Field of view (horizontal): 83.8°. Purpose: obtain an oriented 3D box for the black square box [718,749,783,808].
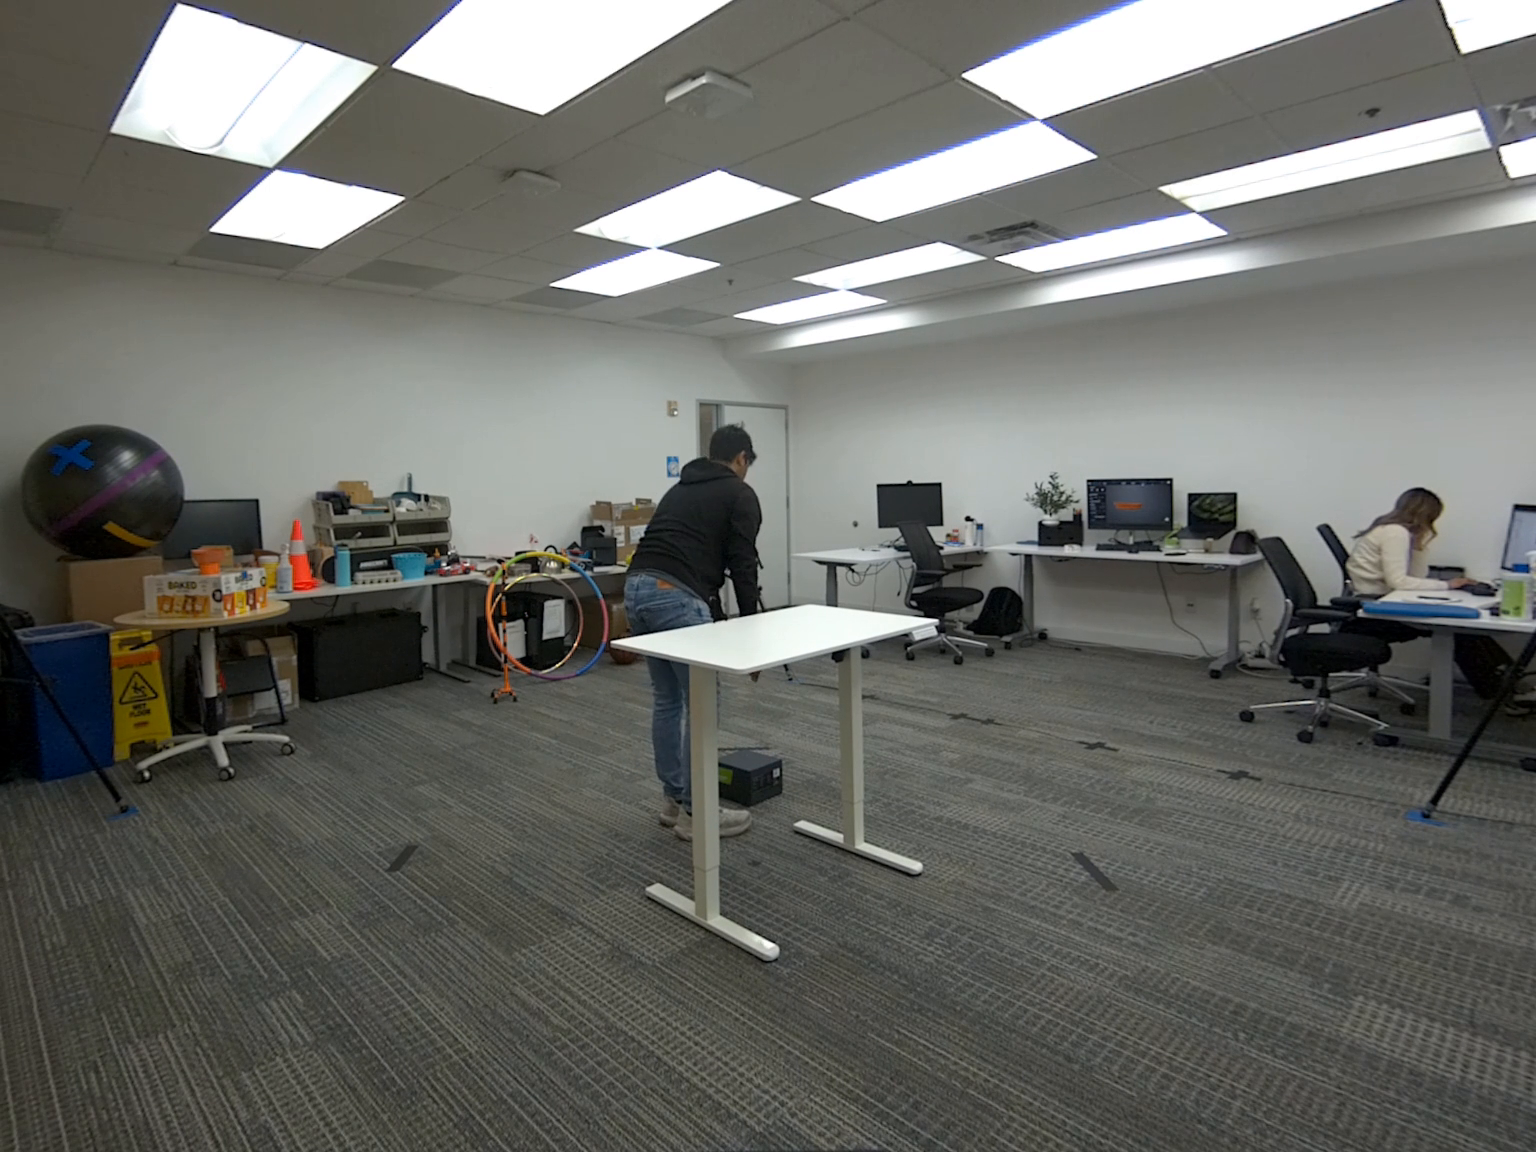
[{"bbox_3d":[-0.091,0.885,3.778,0.235,0.155,0.211,3,7,42],"label":"black square box"}]
